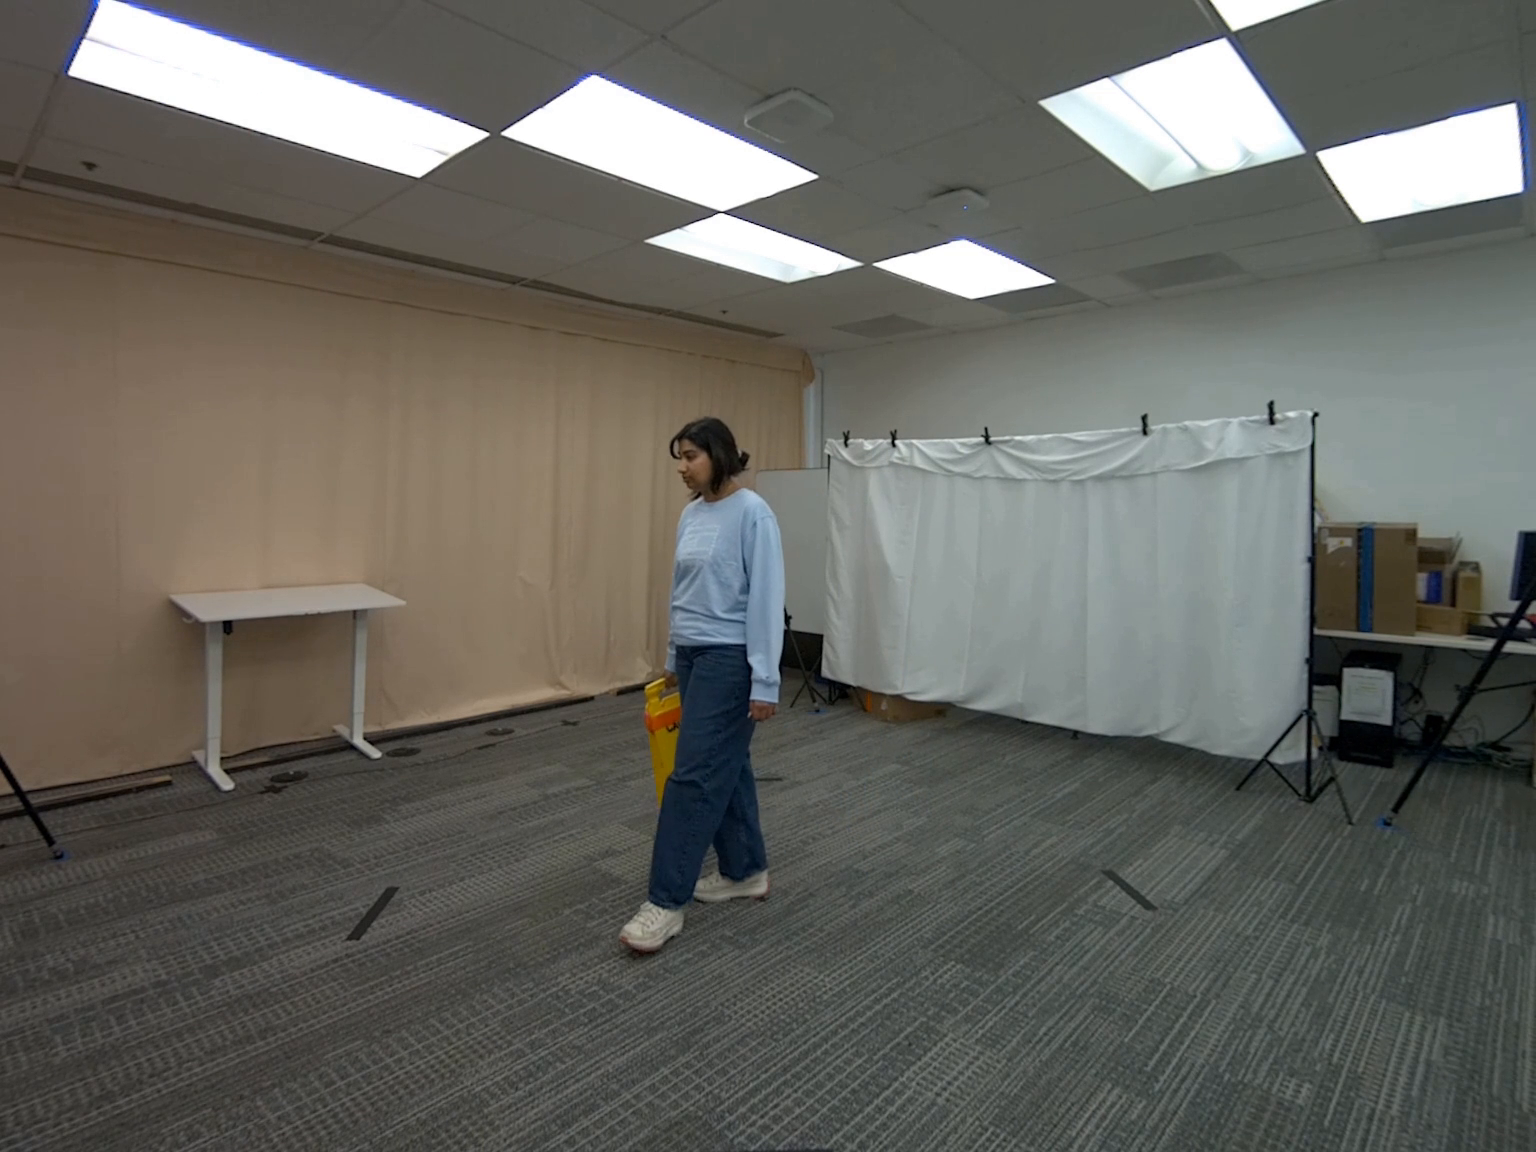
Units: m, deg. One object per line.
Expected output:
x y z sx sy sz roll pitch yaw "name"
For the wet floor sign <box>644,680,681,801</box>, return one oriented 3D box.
-0.315 0.690 3.253 0.277 0.639 0.298 -18 15 -24 "wet floor sign"
